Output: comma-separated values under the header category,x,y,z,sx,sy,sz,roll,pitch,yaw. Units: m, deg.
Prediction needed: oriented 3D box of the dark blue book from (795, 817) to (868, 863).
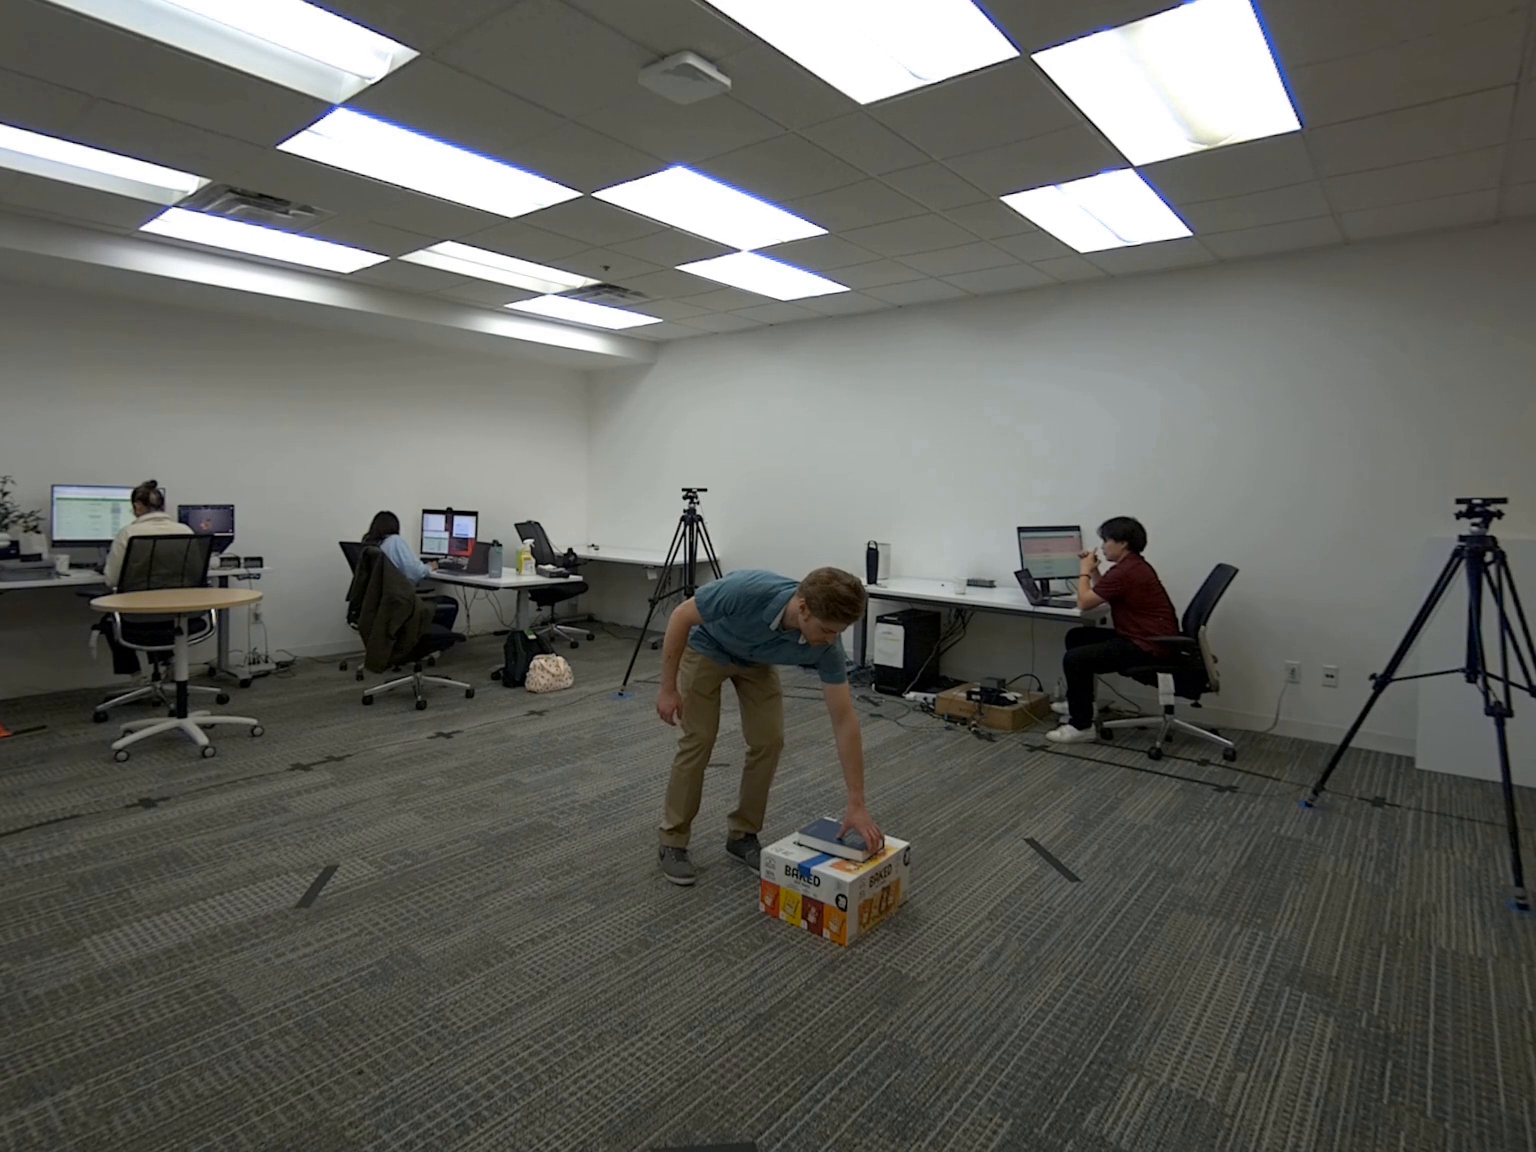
category,x,y,z,sx,sy,sz,roll,pitch,yaw
dark blue book,0.237,0.886,2.870,0.253,0.045,0.159,7,8,35
